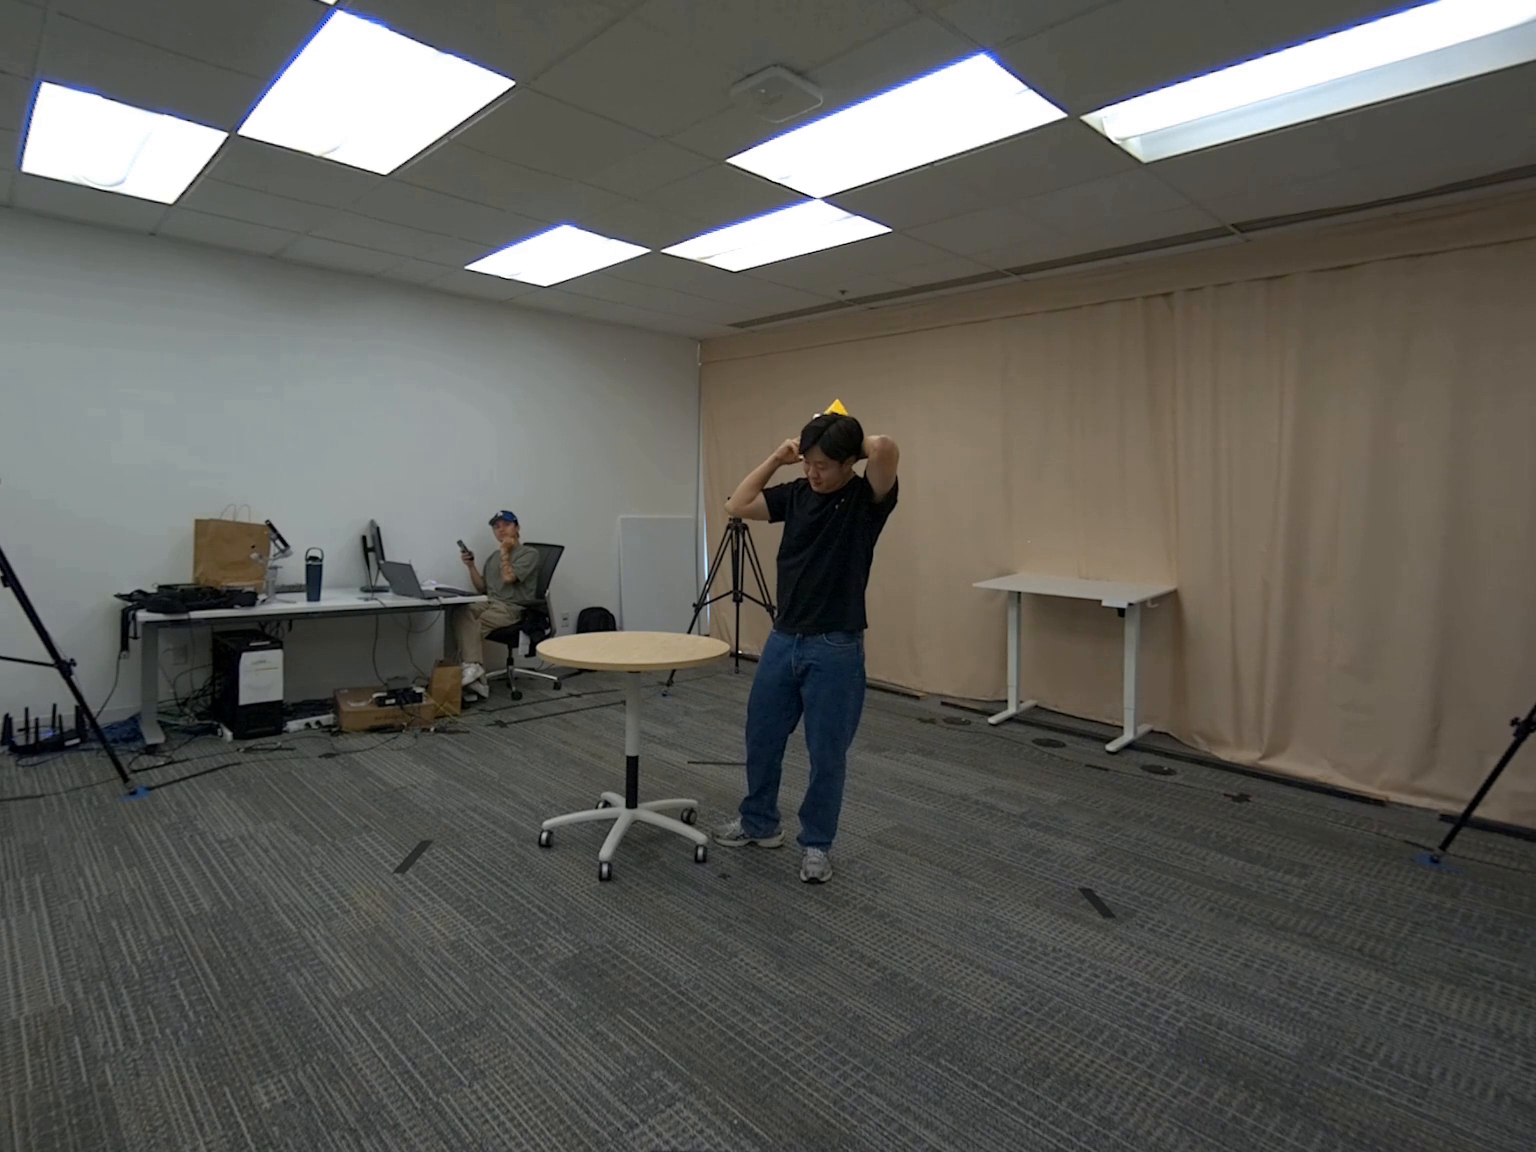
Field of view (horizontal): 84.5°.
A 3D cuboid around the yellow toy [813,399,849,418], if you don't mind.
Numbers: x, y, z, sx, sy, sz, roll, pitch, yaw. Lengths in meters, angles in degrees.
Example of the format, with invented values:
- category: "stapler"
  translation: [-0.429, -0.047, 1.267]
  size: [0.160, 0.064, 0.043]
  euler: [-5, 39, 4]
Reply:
- category: "yellow toy"
  translation: [0.218, -0.549, 3.155]
  size: [0.209, 0.229, 0.190]
  euler: [9, 10, 24]
